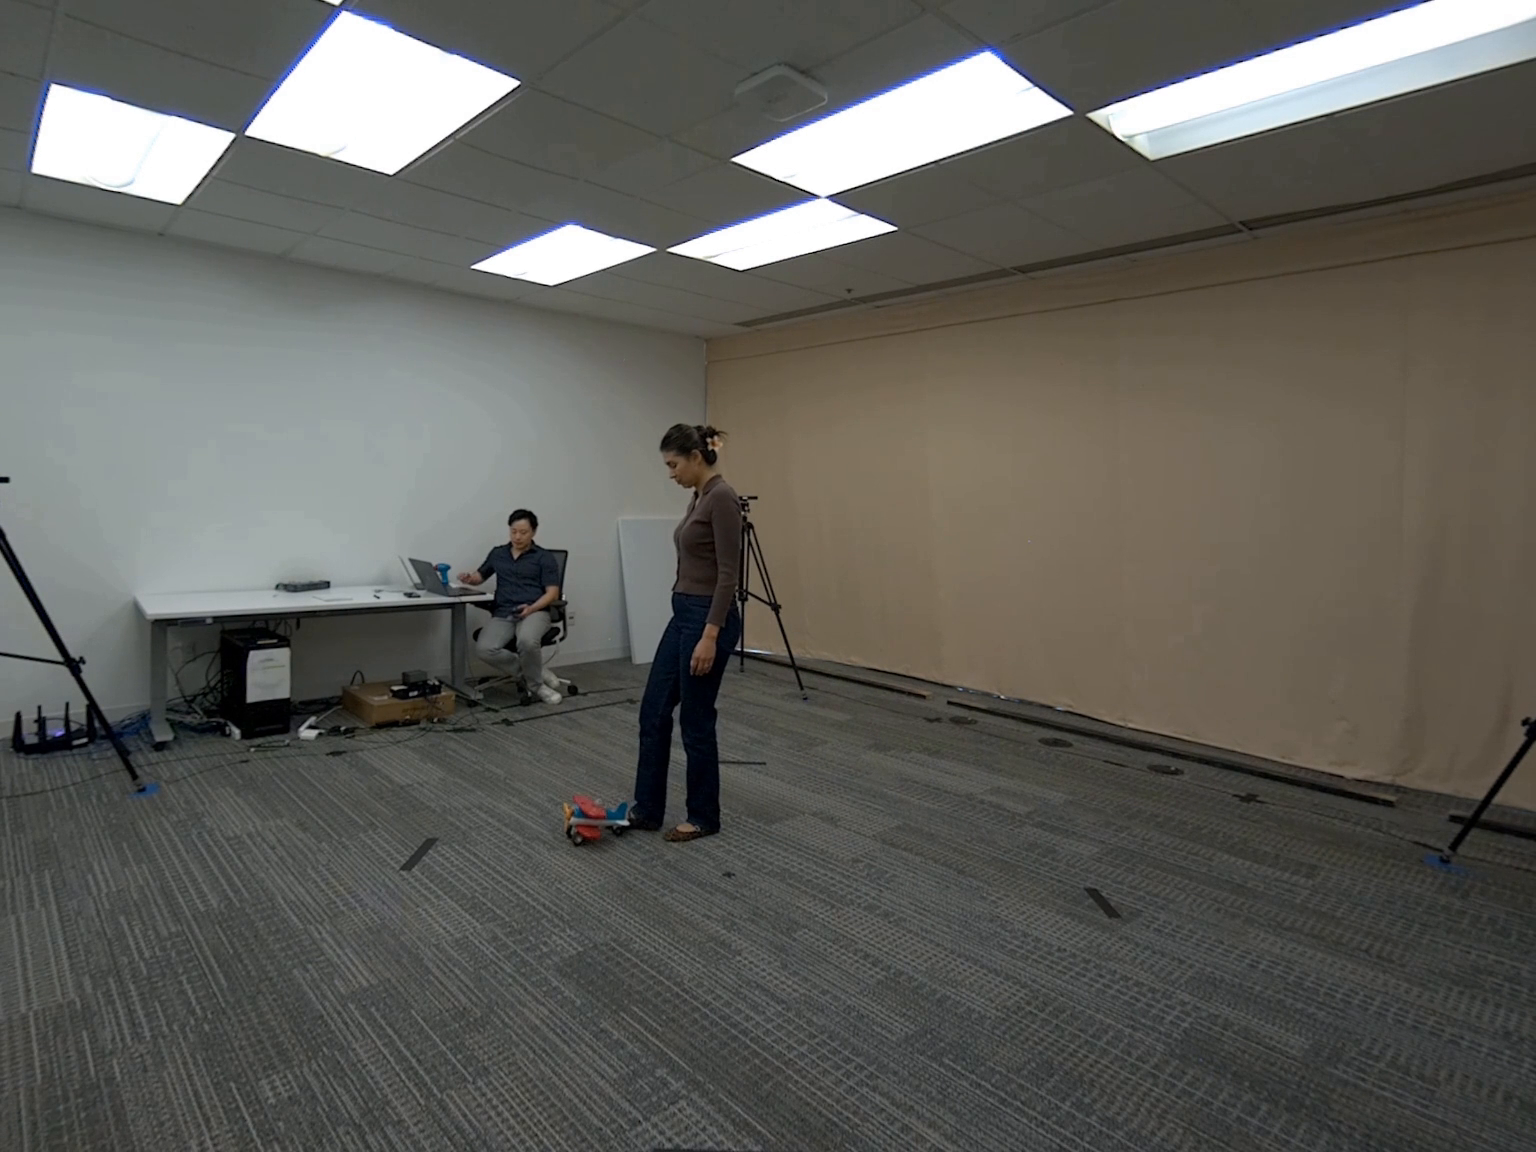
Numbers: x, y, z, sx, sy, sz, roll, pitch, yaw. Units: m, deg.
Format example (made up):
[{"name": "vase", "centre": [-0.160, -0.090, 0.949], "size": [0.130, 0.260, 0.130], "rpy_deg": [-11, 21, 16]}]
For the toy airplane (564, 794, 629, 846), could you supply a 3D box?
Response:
[{"name": "toy airplane", "centre": [-0.717, 0.986, 3.418], "size": [0.257, 0.156, 0.254], "rpy_deg": [3, 6, 33]}]
